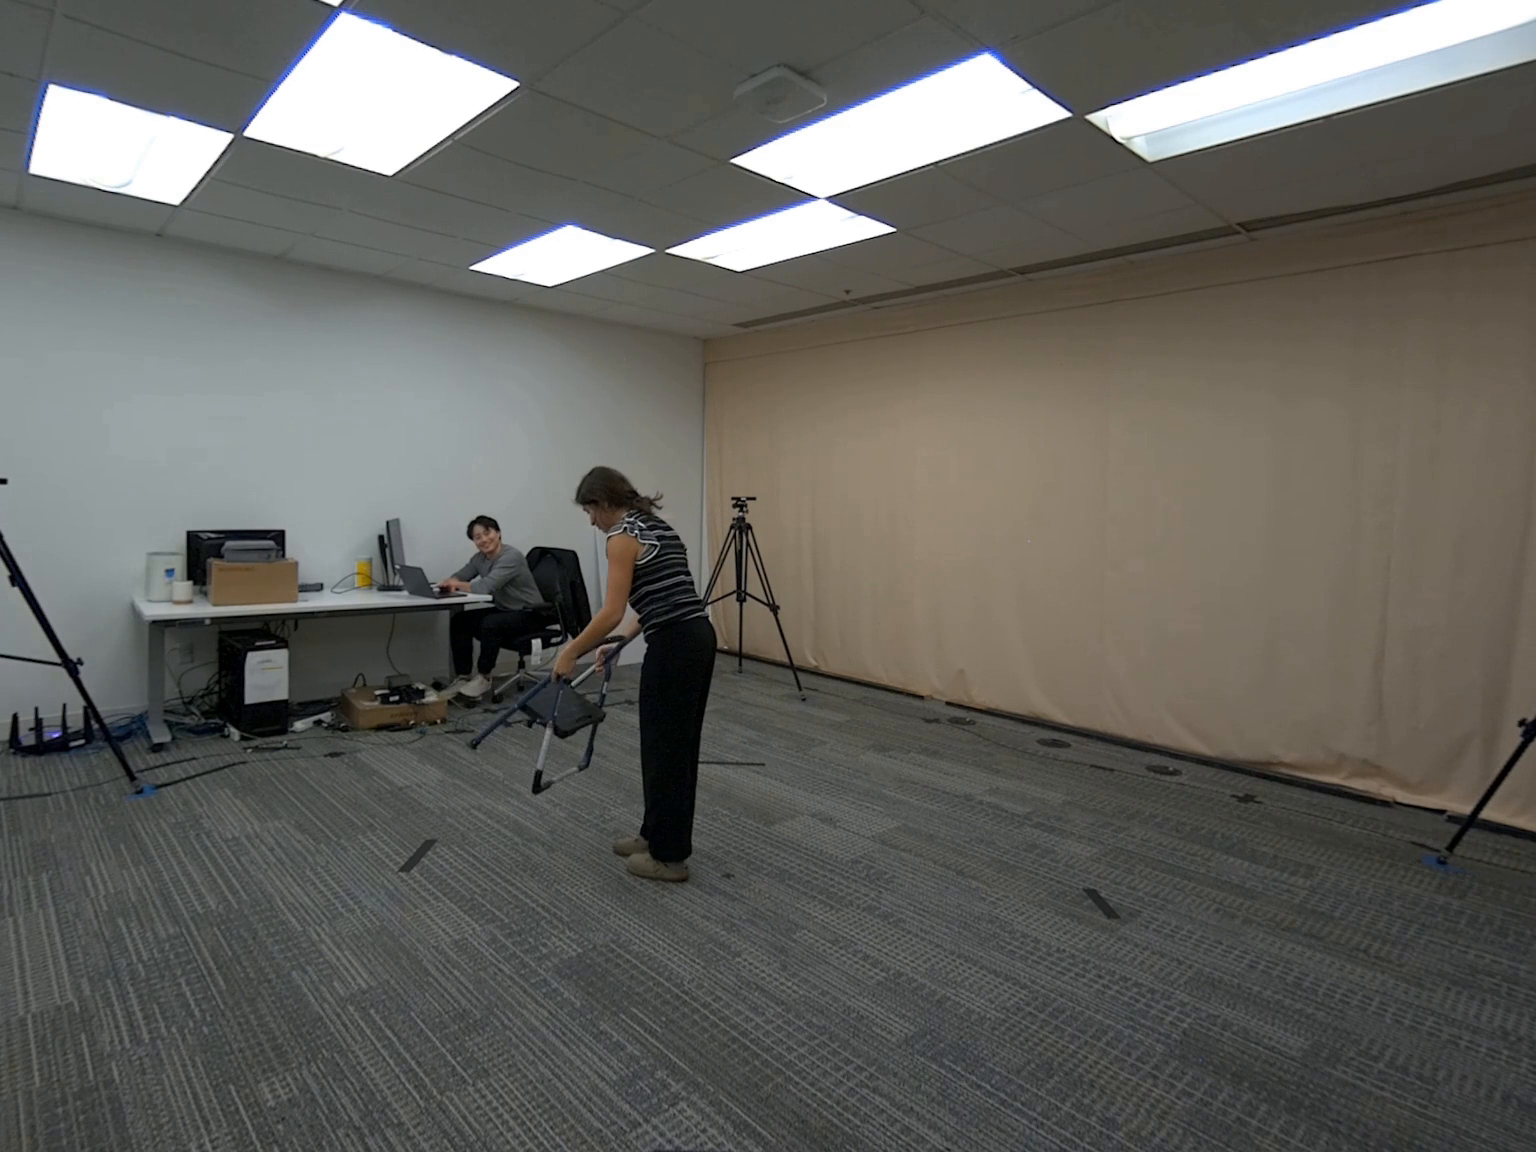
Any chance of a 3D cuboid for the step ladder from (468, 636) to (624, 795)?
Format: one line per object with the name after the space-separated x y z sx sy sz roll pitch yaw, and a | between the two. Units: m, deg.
-0.799 0.461 3.286 0.354 0.604 0.425 31 9 13 | step ladder
